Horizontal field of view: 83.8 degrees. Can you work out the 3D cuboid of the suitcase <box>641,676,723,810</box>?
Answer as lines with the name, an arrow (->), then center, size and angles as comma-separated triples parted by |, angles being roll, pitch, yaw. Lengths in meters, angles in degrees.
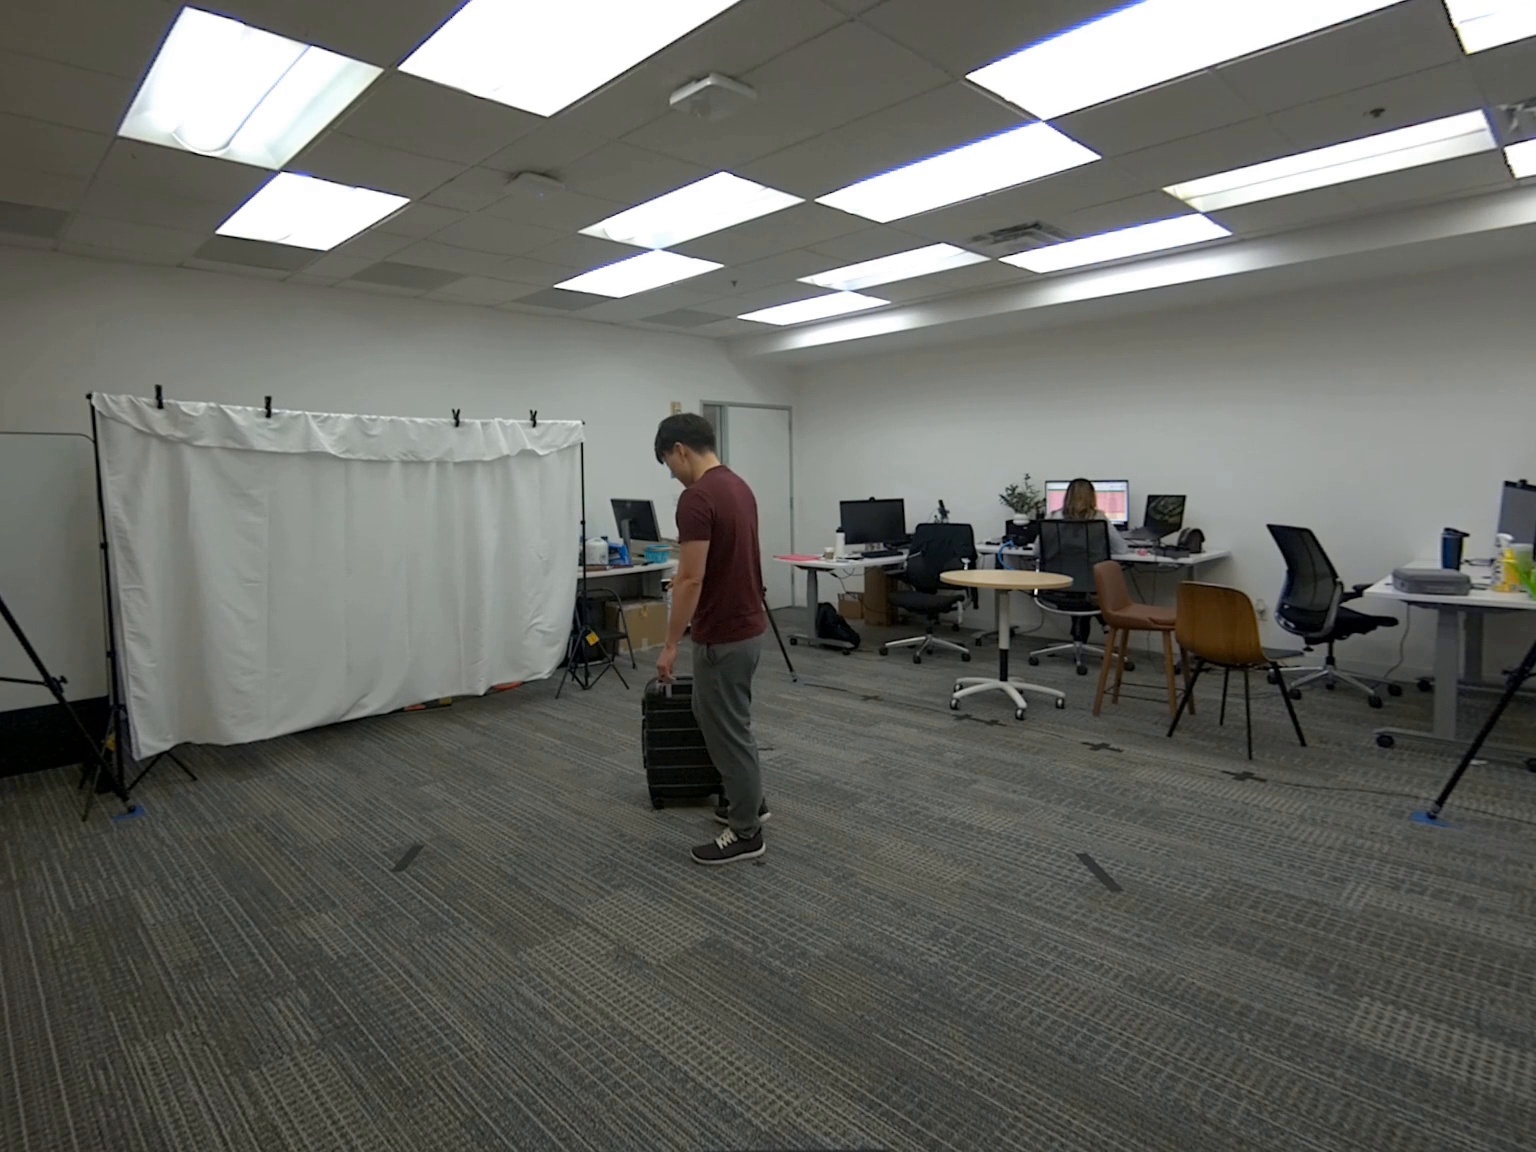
suitcase -> -0.366, 0.505, 3.747 | 0.384, 0.978, 0.257 | -2, 1, 0
